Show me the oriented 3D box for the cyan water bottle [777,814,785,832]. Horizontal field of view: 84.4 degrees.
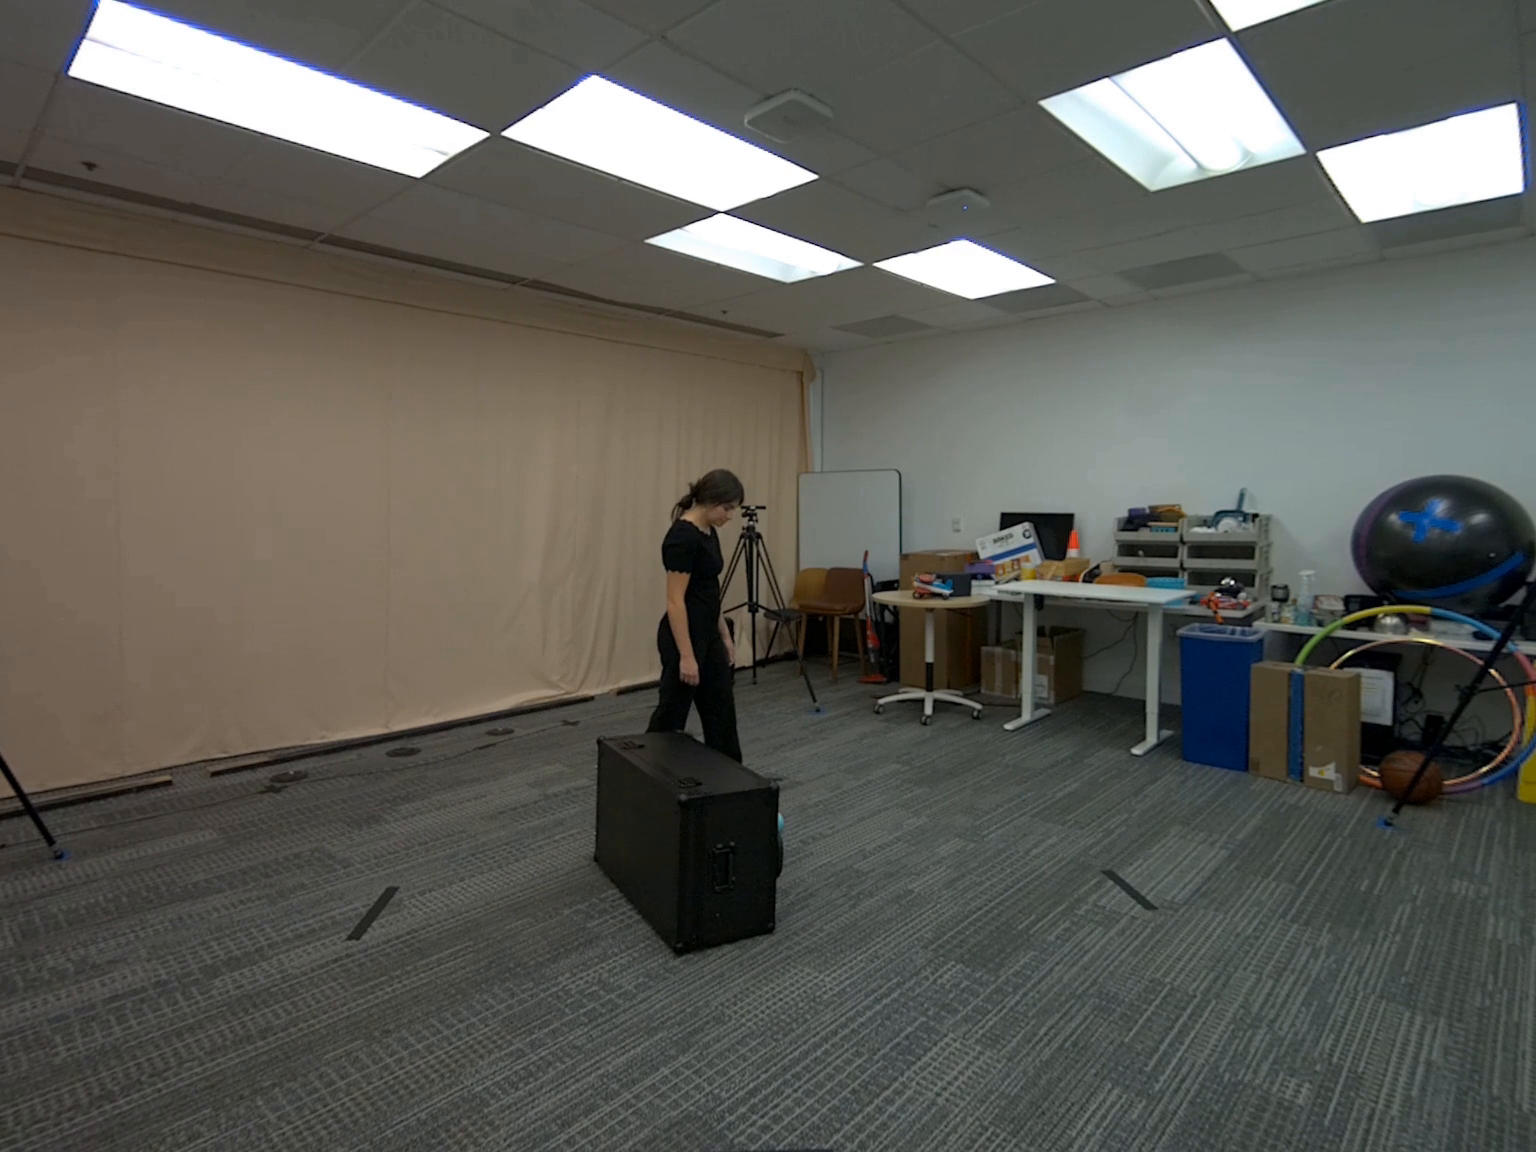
[{"bbox_3d":[-0.066,1.052,3.510,0.275,0.092,0.095,-3,5,-34],"label":"cyan water bottle"}]
